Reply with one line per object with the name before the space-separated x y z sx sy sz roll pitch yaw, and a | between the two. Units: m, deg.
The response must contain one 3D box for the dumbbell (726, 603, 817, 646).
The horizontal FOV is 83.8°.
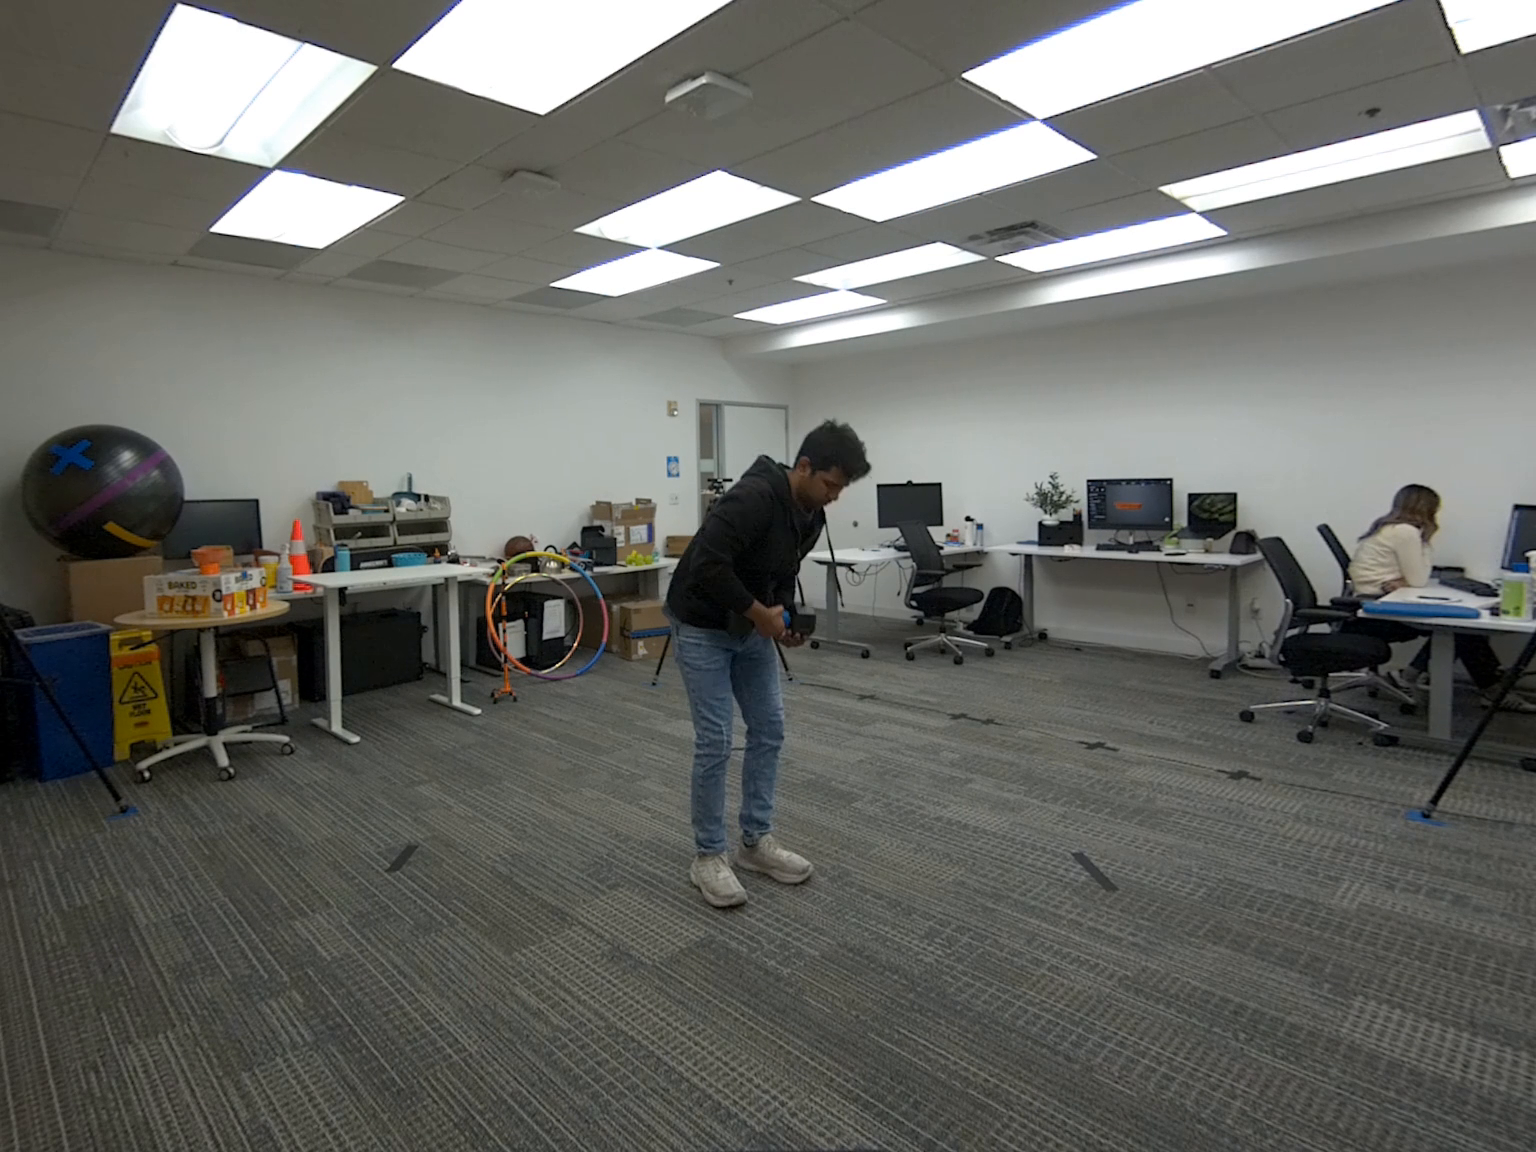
dumbbell | 0.007 0.155 2.829 0.289 0.123 0.110 4 2 -14
